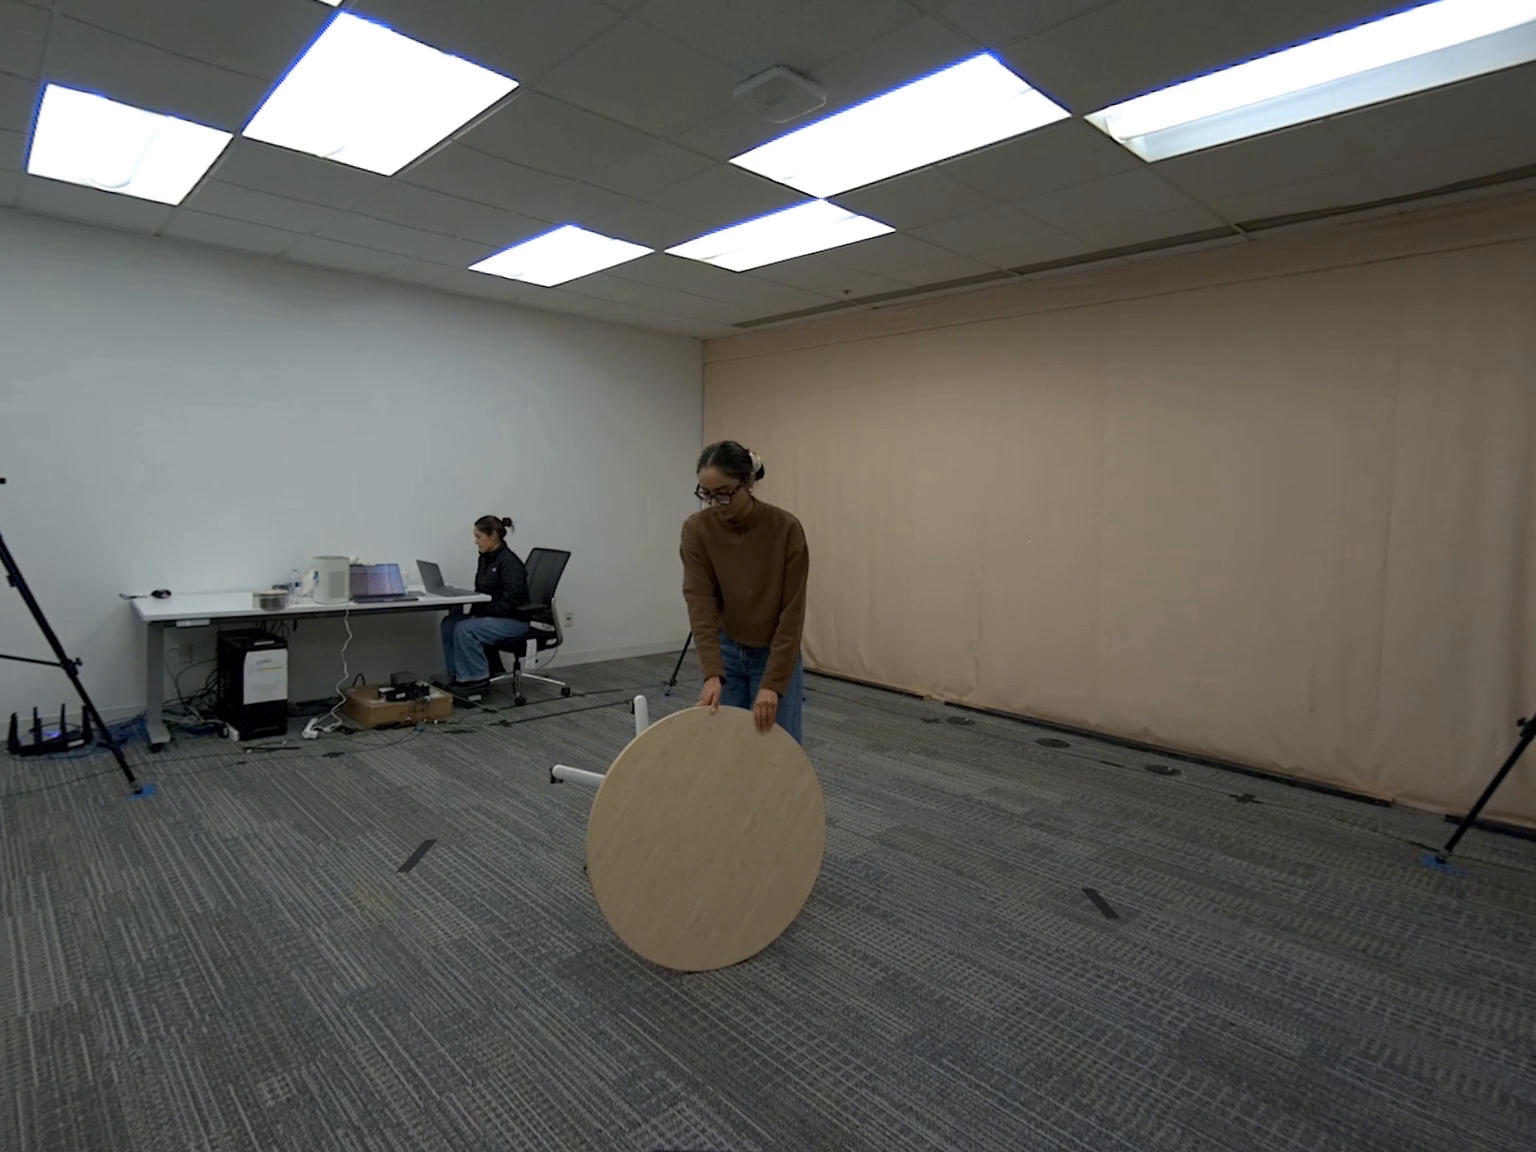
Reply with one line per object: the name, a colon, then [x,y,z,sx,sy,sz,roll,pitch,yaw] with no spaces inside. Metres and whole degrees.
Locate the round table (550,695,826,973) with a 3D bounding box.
round table: [-0.339,0.791,2.872,0.750,0.766,0.806,-1,-3,-25]
